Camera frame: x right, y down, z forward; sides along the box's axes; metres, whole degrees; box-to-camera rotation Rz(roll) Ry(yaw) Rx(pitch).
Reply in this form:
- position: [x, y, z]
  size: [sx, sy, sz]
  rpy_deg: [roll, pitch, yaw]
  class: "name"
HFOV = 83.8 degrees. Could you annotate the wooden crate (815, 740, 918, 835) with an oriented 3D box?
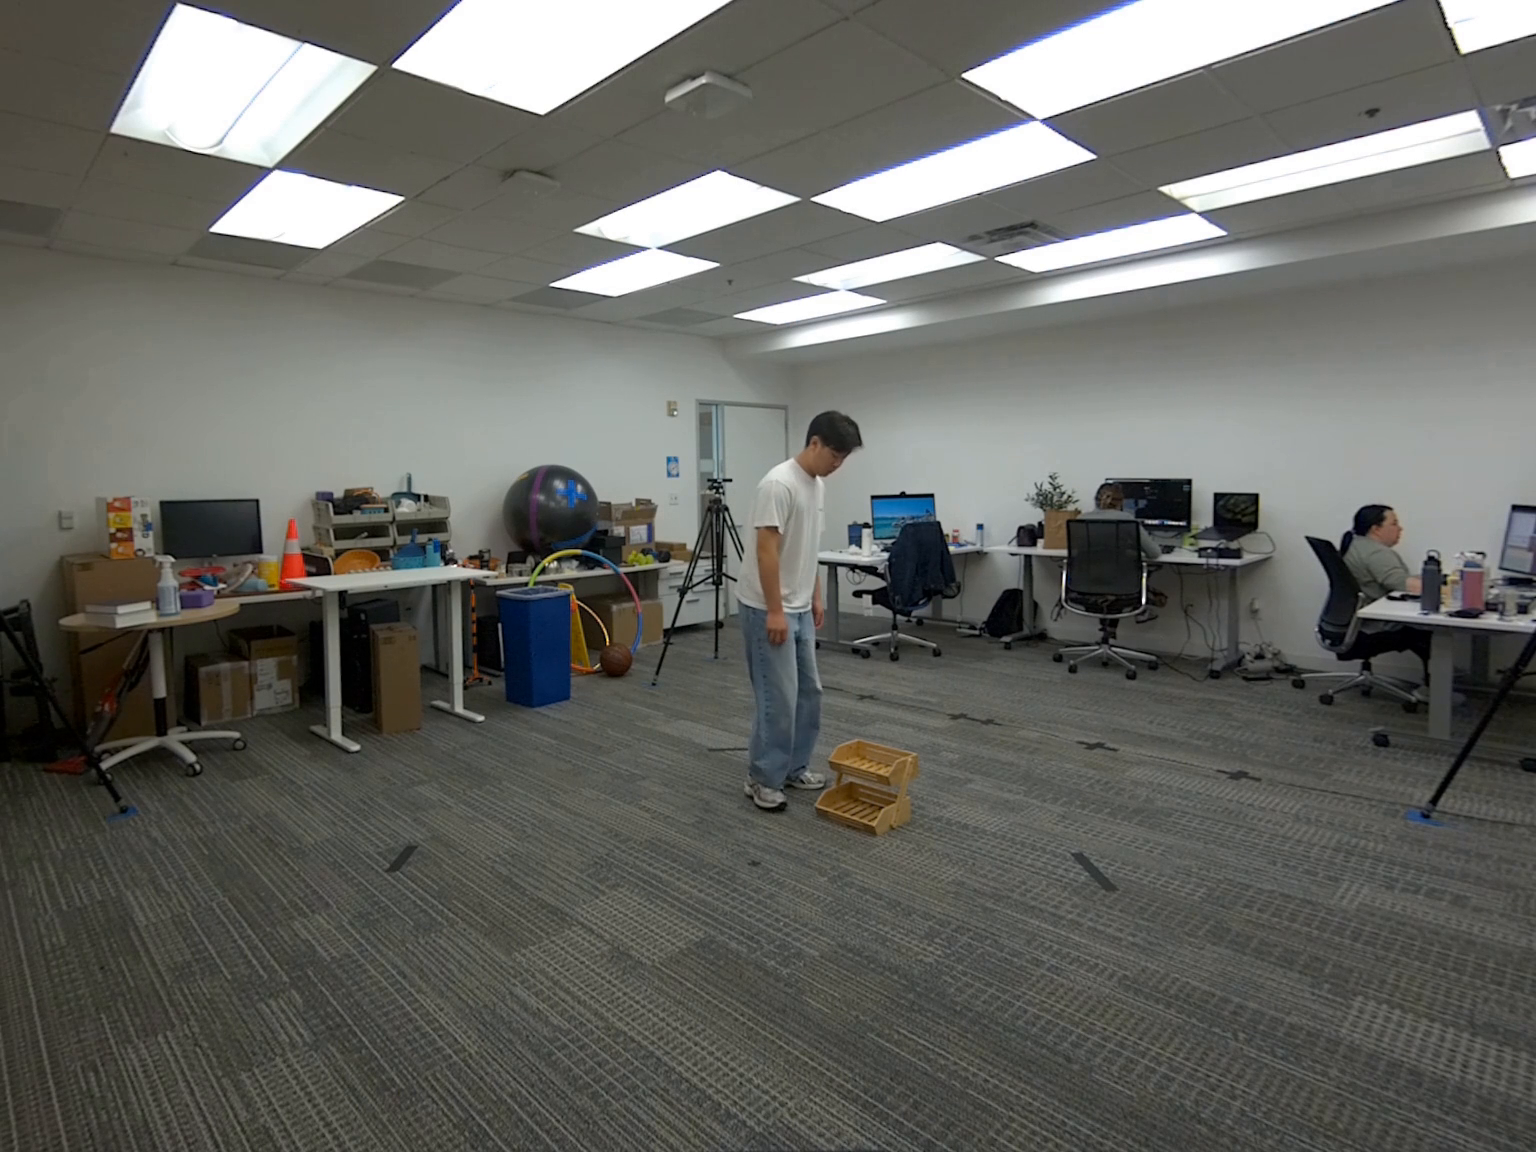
- position: [0.406, 0.858, 3.514]
  size: [0.334, 0.272, 0.294]
  rpy_deg: [4, 6, 44]
  class: "wooden crate"
